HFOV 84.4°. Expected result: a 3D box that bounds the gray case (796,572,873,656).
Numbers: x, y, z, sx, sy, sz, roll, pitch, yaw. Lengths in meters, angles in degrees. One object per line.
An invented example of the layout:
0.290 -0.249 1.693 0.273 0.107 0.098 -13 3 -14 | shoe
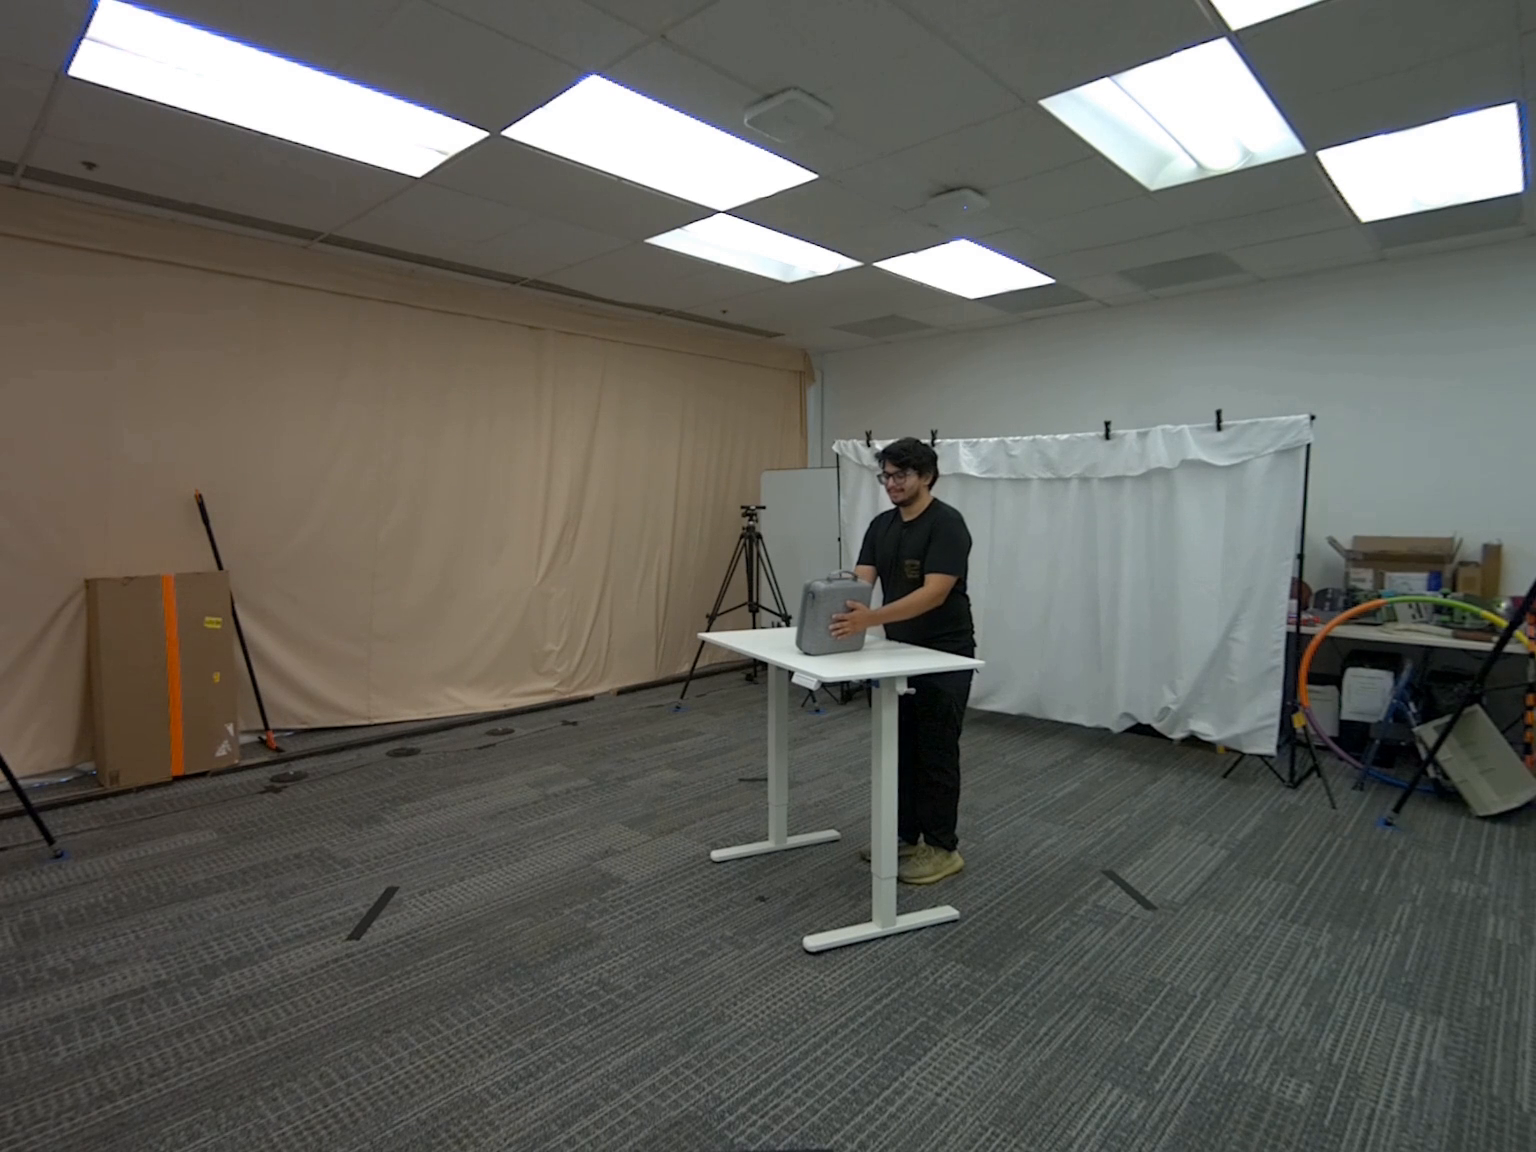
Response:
0.233 0.135 2.897 0.249 0.259 0.108 -2 14 -34 | gray case
